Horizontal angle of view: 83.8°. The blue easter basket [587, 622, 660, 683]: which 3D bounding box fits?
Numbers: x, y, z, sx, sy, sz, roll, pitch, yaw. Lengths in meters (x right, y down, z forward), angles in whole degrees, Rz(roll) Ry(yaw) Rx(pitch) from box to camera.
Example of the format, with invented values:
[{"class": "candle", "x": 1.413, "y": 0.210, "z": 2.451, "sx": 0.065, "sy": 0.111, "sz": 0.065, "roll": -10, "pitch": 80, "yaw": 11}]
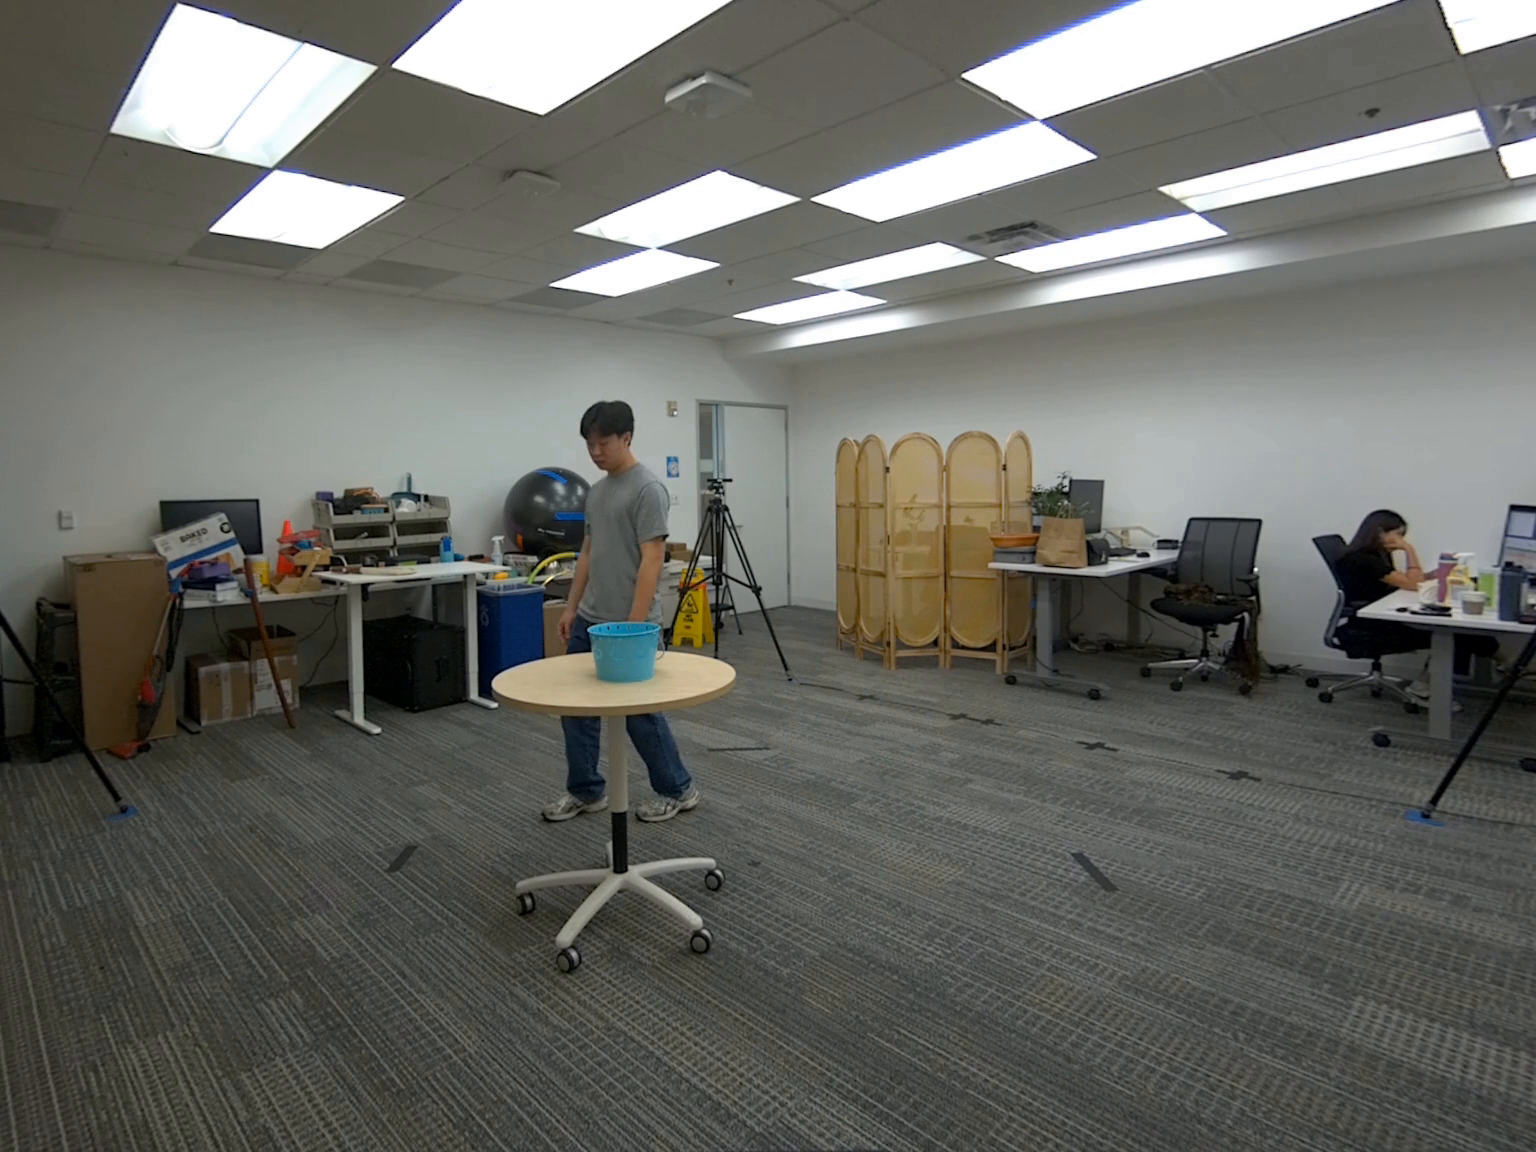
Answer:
[{"class": "blue easter basket", "x": -0.445, "y": 0.243, "z": 2.699, "sx": 0.243, "sy": 0.155, "sz": 0.245, "roll": -2, "pitch": 7, "yaw": -1}]
